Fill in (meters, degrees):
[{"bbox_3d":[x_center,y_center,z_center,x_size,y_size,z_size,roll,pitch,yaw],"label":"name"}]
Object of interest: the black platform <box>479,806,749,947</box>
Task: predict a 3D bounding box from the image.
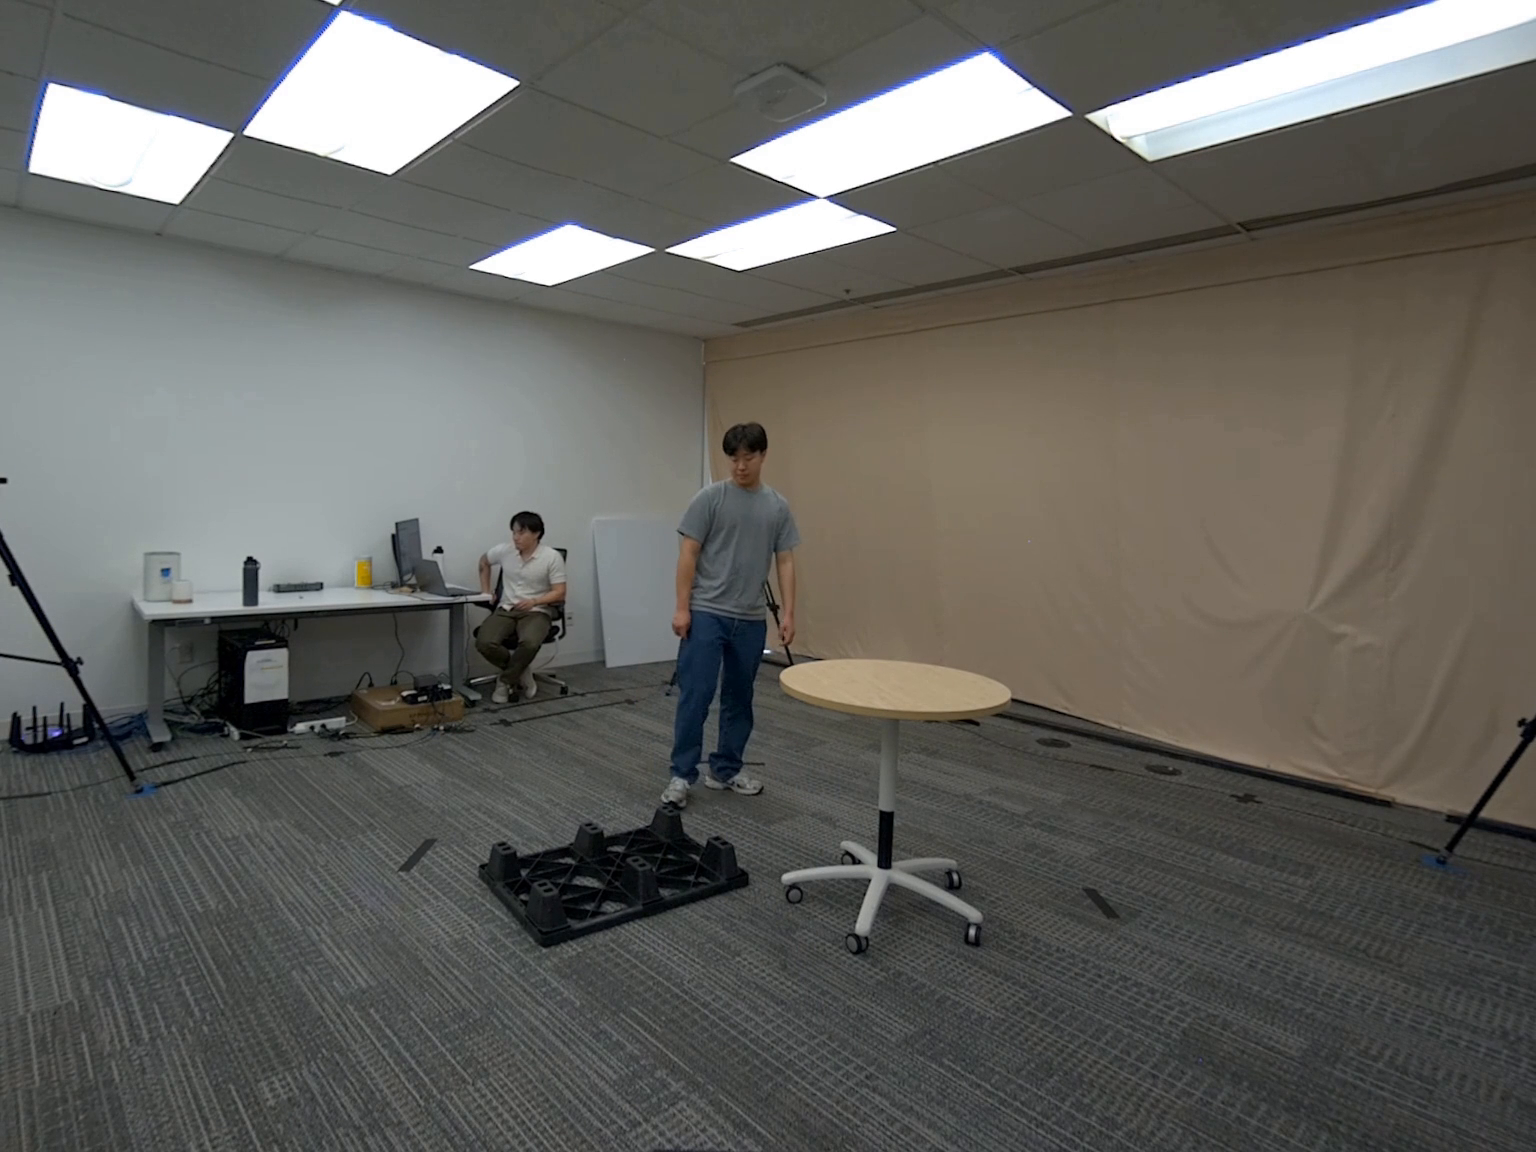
[{"bbox_3d":[-0.562,1.038,3.031,0.788,0.143,0.620,-3,6,-37],"label":"black platform"}]
